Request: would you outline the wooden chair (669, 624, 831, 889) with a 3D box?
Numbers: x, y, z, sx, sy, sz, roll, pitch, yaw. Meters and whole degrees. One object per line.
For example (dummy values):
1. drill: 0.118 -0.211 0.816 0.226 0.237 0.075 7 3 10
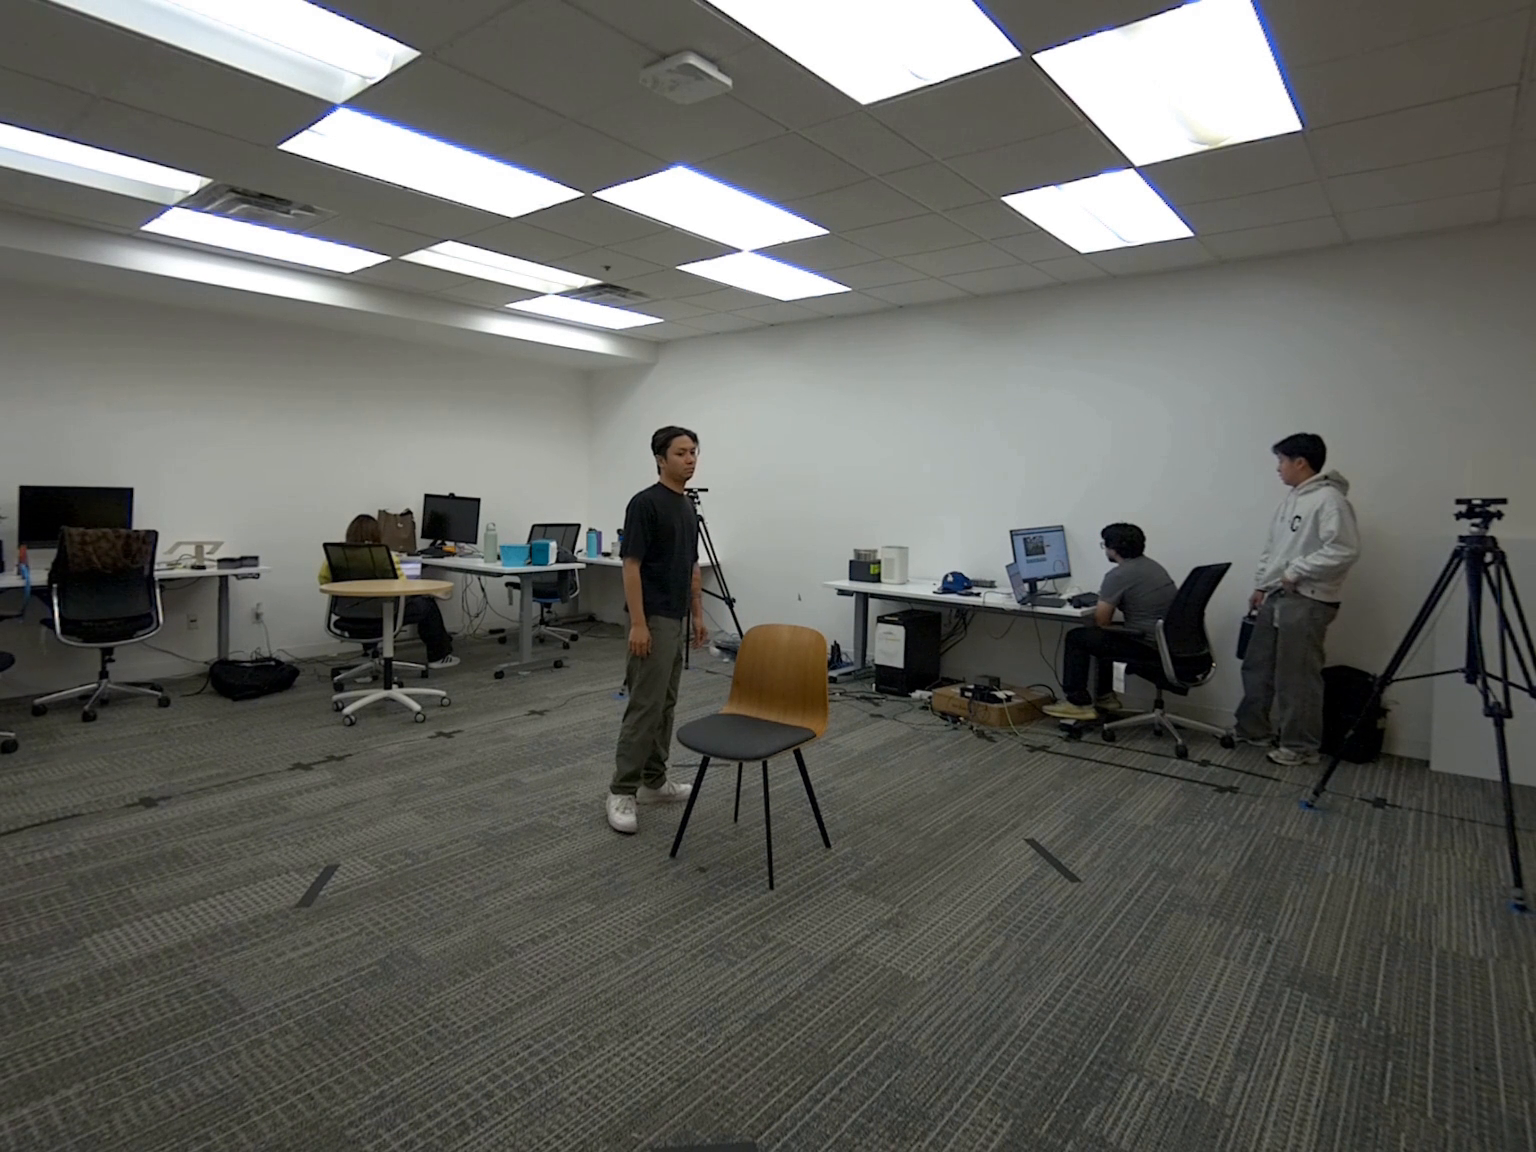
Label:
1. wooden chair: -0.064 0.633 3.232 0.493 0.878 0.507 4 0 32
